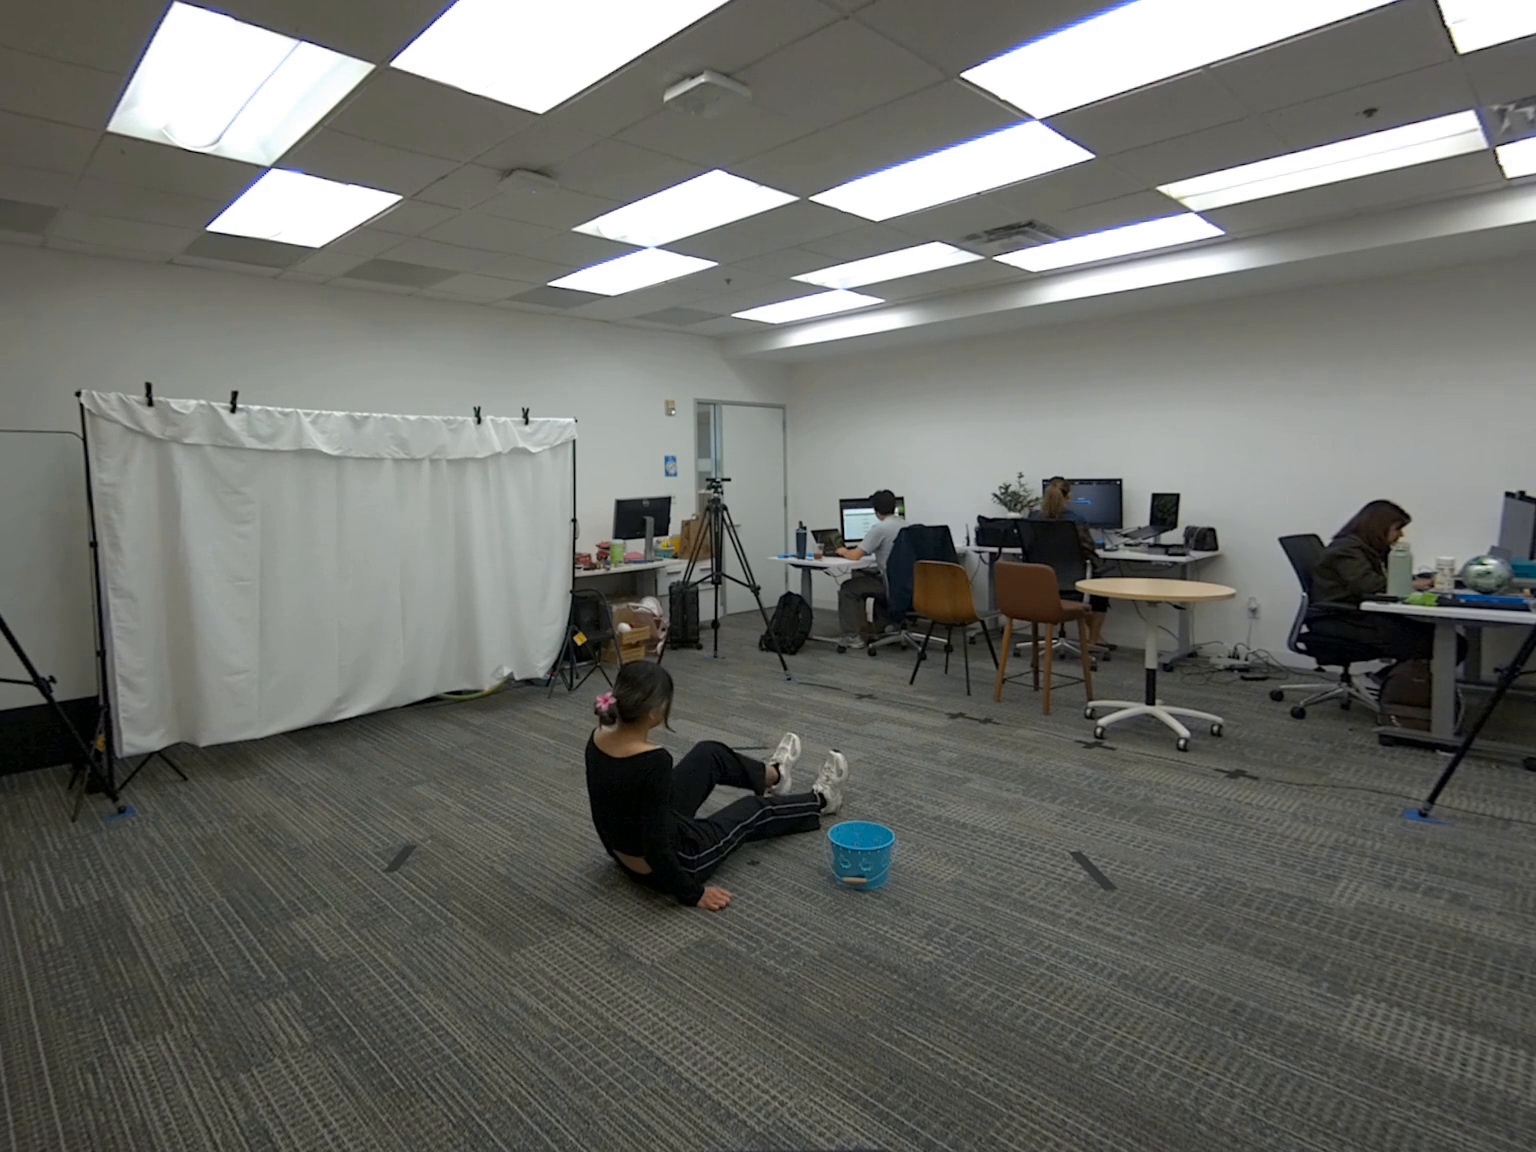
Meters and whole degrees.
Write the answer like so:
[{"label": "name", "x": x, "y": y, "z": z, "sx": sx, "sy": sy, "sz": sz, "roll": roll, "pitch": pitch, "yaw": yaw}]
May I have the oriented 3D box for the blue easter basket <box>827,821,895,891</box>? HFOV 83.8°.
[{"label": "blue easter basket", "x": 0.322, "y": 0.965, "z": 2.970, "sx": 0.243, "sy": 0.155, "sz": 0.245, "roll": 0, "pitch": 6, "yaw": -2}]
